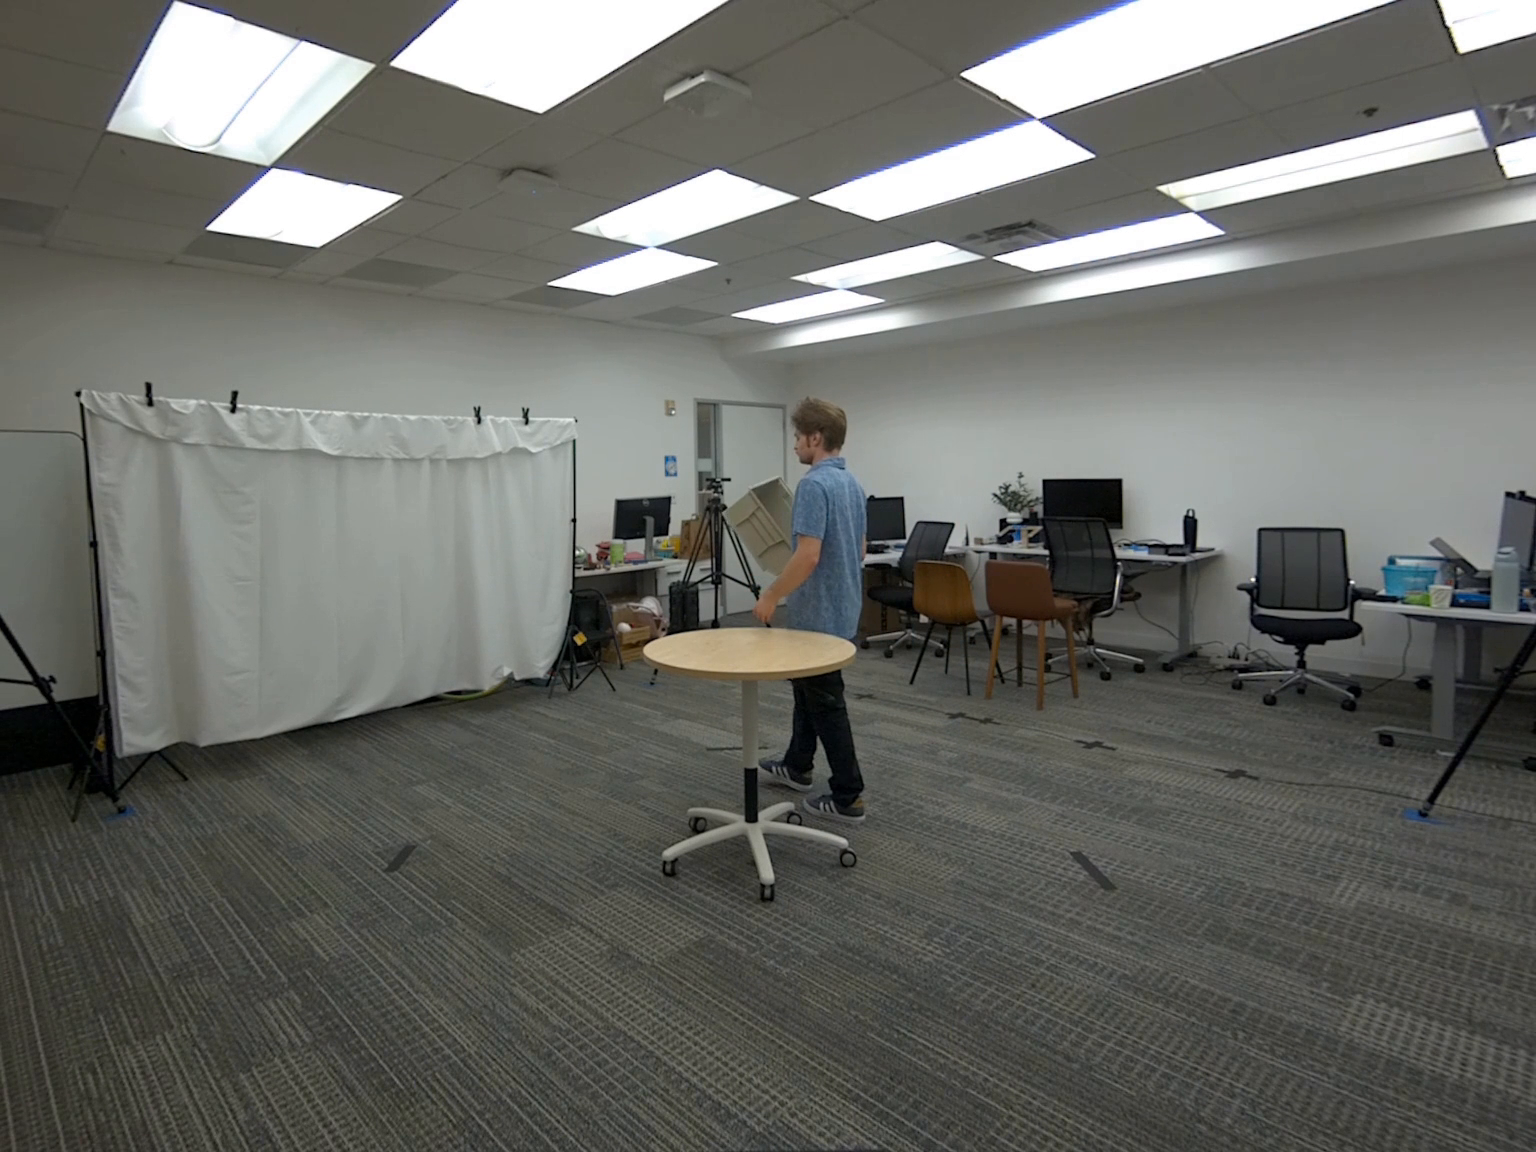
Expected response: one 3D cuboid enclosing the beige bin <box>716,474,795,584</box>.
[{"bbox_3d":[0.026,-0.226,3.889,0.190,0.380,0.418,-38,-4,26],"label":"beige bin"}]
